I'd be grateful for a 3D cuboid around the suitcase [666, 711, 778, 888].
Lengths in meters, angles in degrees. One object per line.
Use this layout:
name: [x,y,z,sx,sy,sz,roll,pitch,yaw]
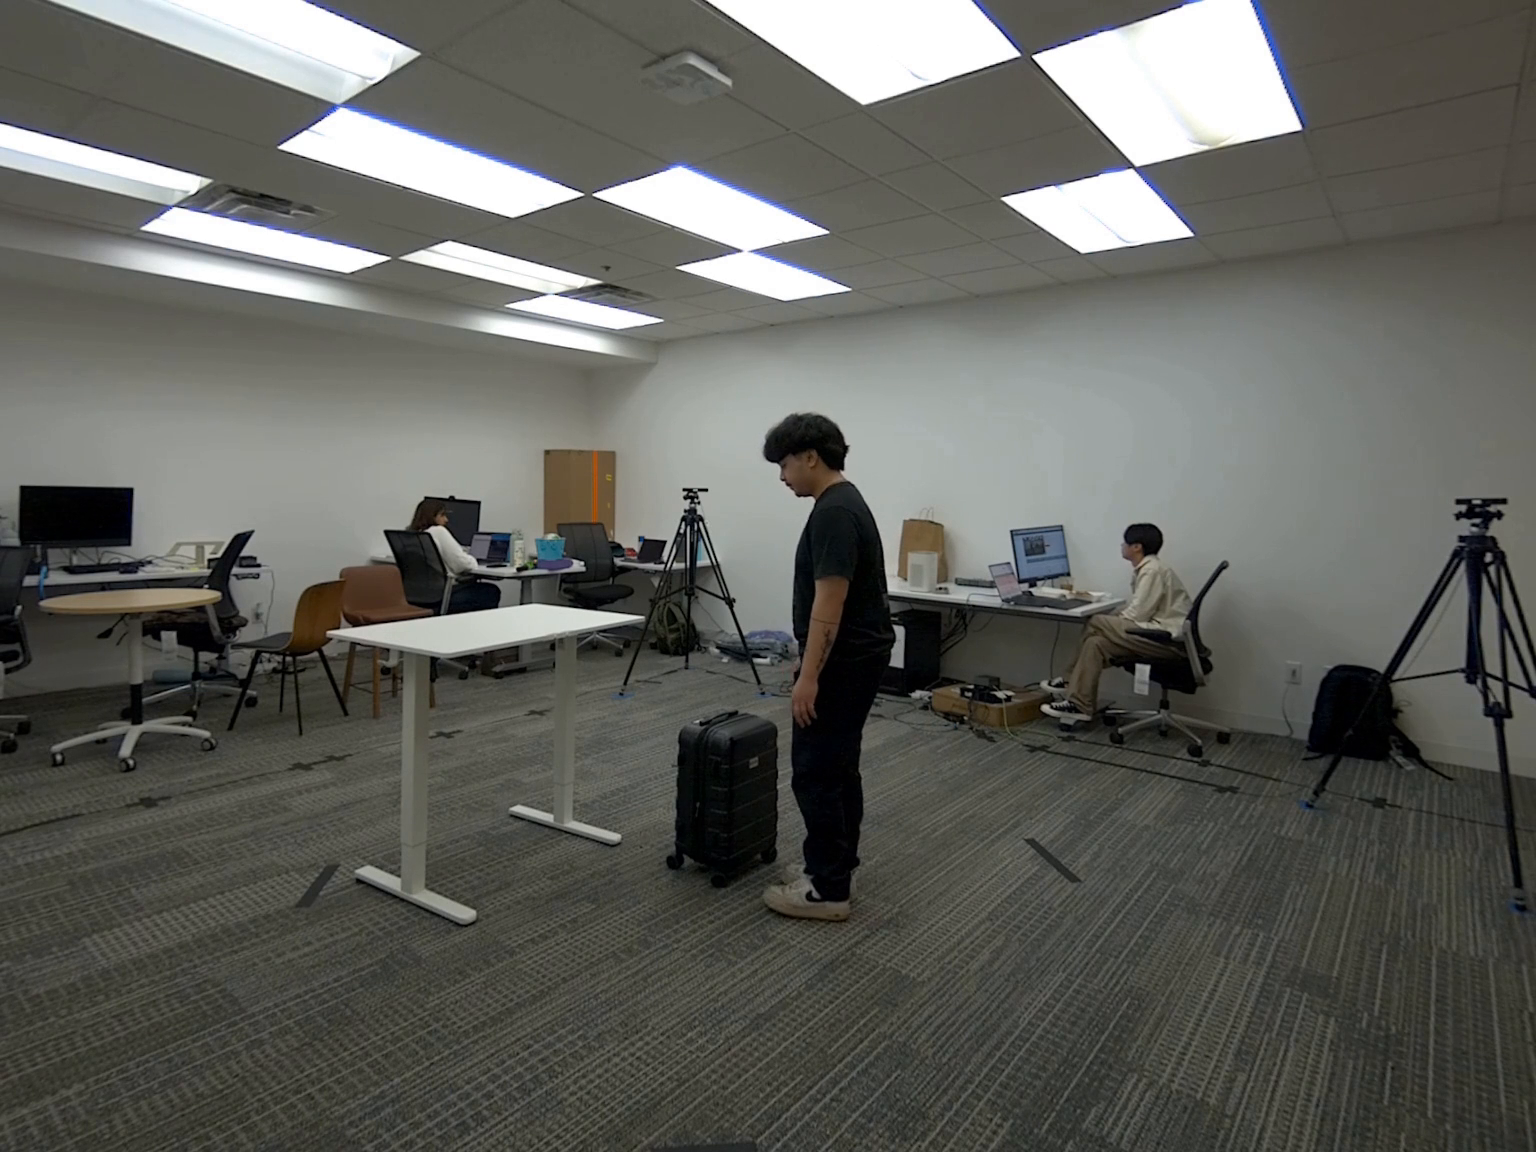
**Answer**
suitcase: [-0.160,0.793,3.148,0.256,0.548,0.364,3,4,37]
